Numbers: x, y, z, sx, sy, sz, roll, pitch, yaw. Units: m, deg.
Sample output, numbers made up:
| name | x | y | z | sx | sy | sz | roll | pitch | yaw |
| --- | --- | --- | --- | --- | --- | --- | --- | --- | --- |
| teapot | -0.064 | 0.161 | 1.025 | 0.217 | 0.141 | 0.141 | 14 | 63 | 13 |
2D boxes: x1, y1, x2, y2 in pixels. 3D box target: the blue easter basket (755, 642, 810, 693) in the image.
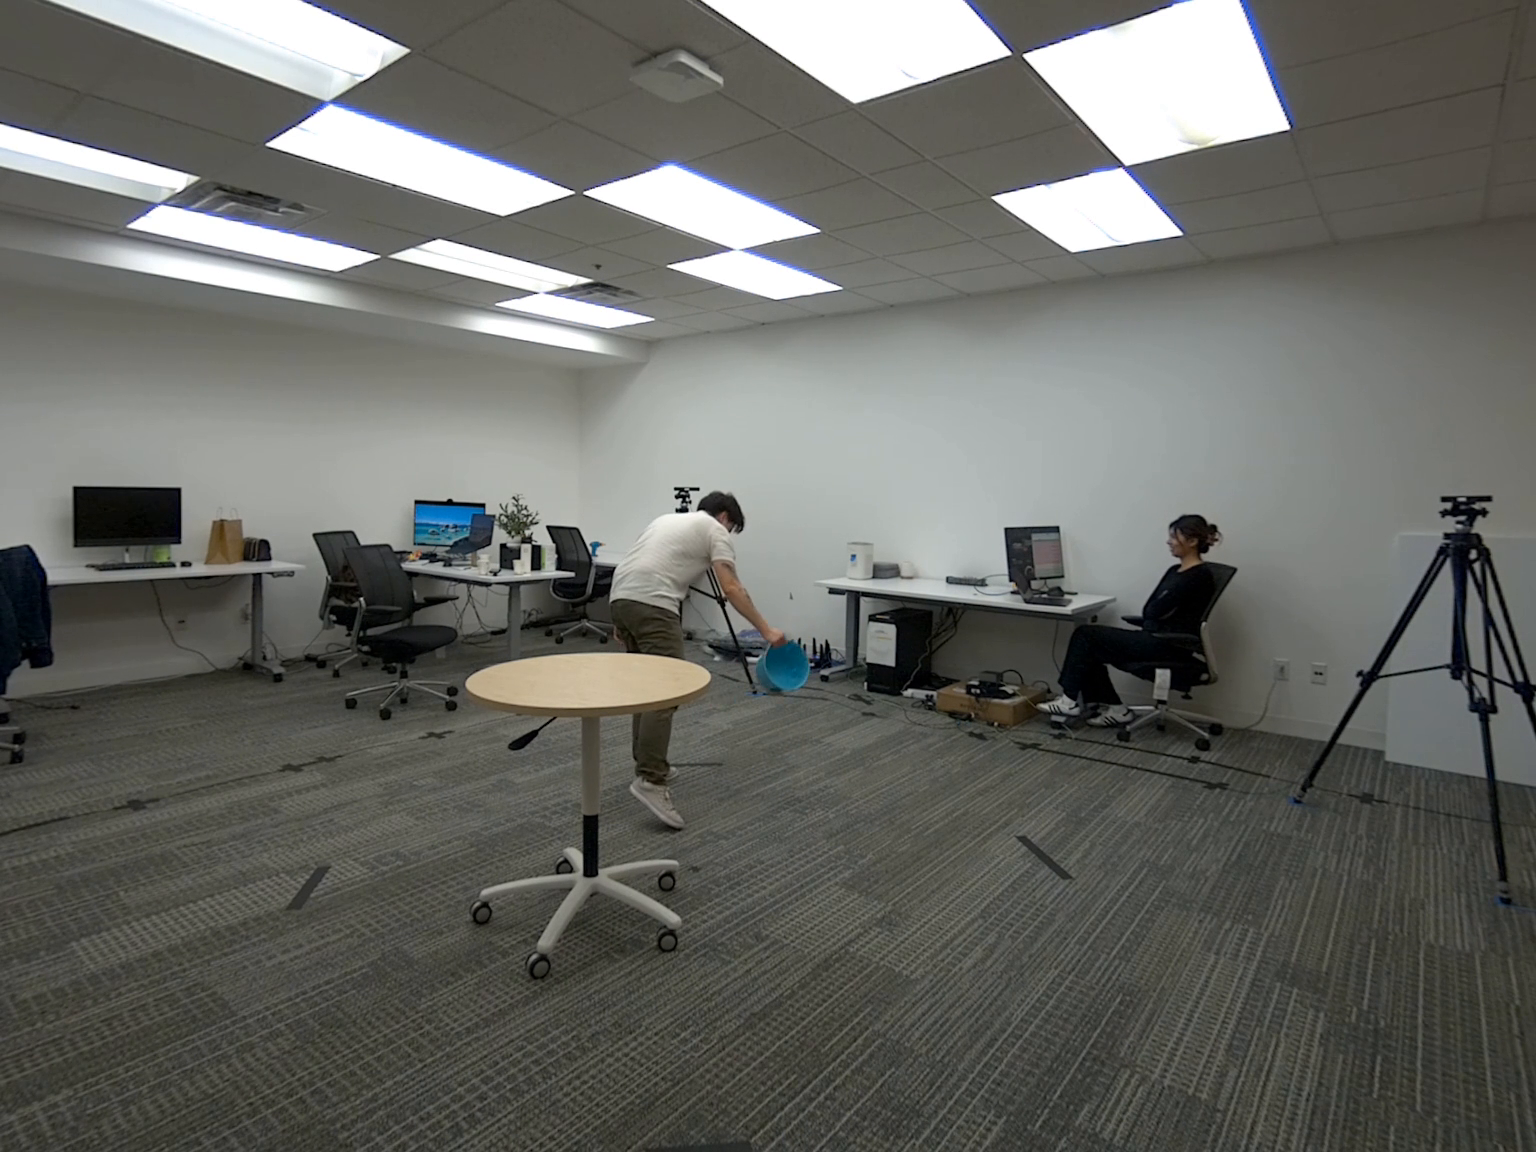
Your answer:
| name | x | y | z | sx | sy | sz | roll | pitch | yaw |
| --- | --- | --- | --- | --- | --- | --- | --- | --- | --- |
| blue easter basket | 0.031 | 0.424 | 3.910 | 0.238 | 0.249 | 0.156 | -1 | -23 | -26 |
